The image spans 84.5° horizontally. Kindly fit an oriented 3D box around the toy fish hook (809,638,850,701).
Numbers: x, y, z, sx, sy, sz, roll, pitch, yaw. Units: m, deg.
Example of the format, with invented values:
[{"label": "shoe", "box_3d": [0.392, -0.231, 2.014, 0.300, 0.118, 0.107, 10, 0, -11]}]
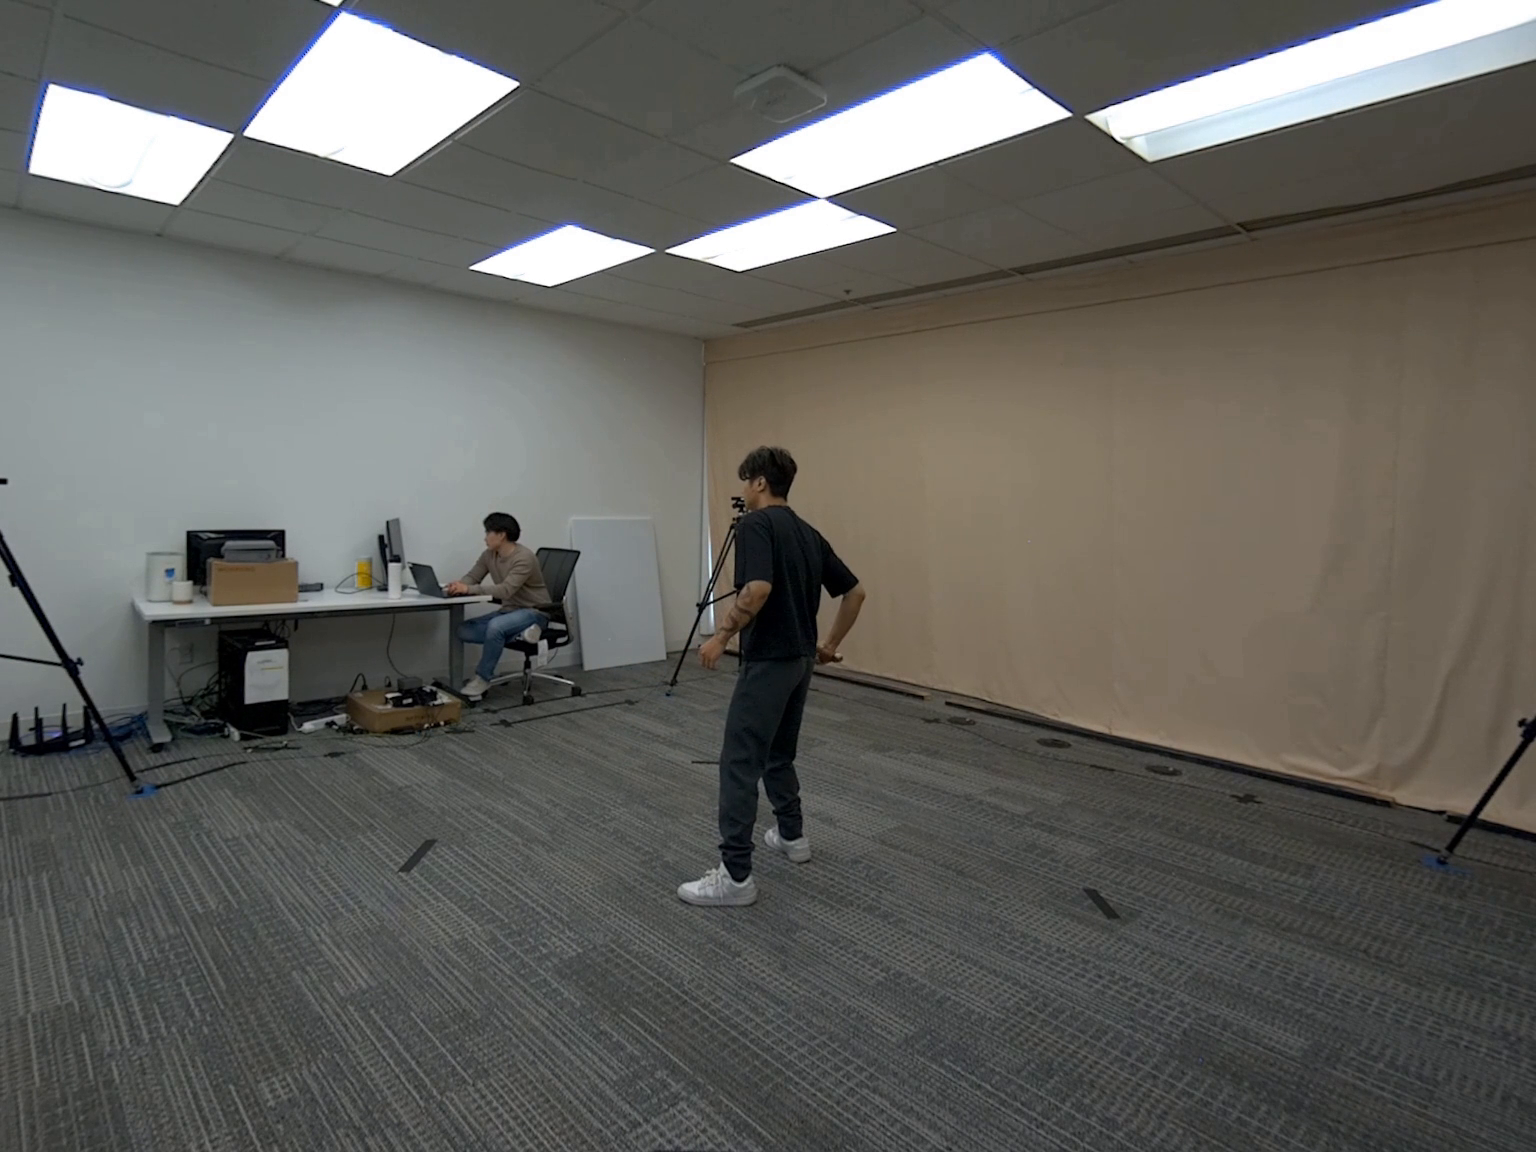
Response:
[{"label": "toy fish hook", "box_3d": [0.132, 0.349, 3.488, 0.048, 0.222, 0.518, -23, 15, -27]}]
